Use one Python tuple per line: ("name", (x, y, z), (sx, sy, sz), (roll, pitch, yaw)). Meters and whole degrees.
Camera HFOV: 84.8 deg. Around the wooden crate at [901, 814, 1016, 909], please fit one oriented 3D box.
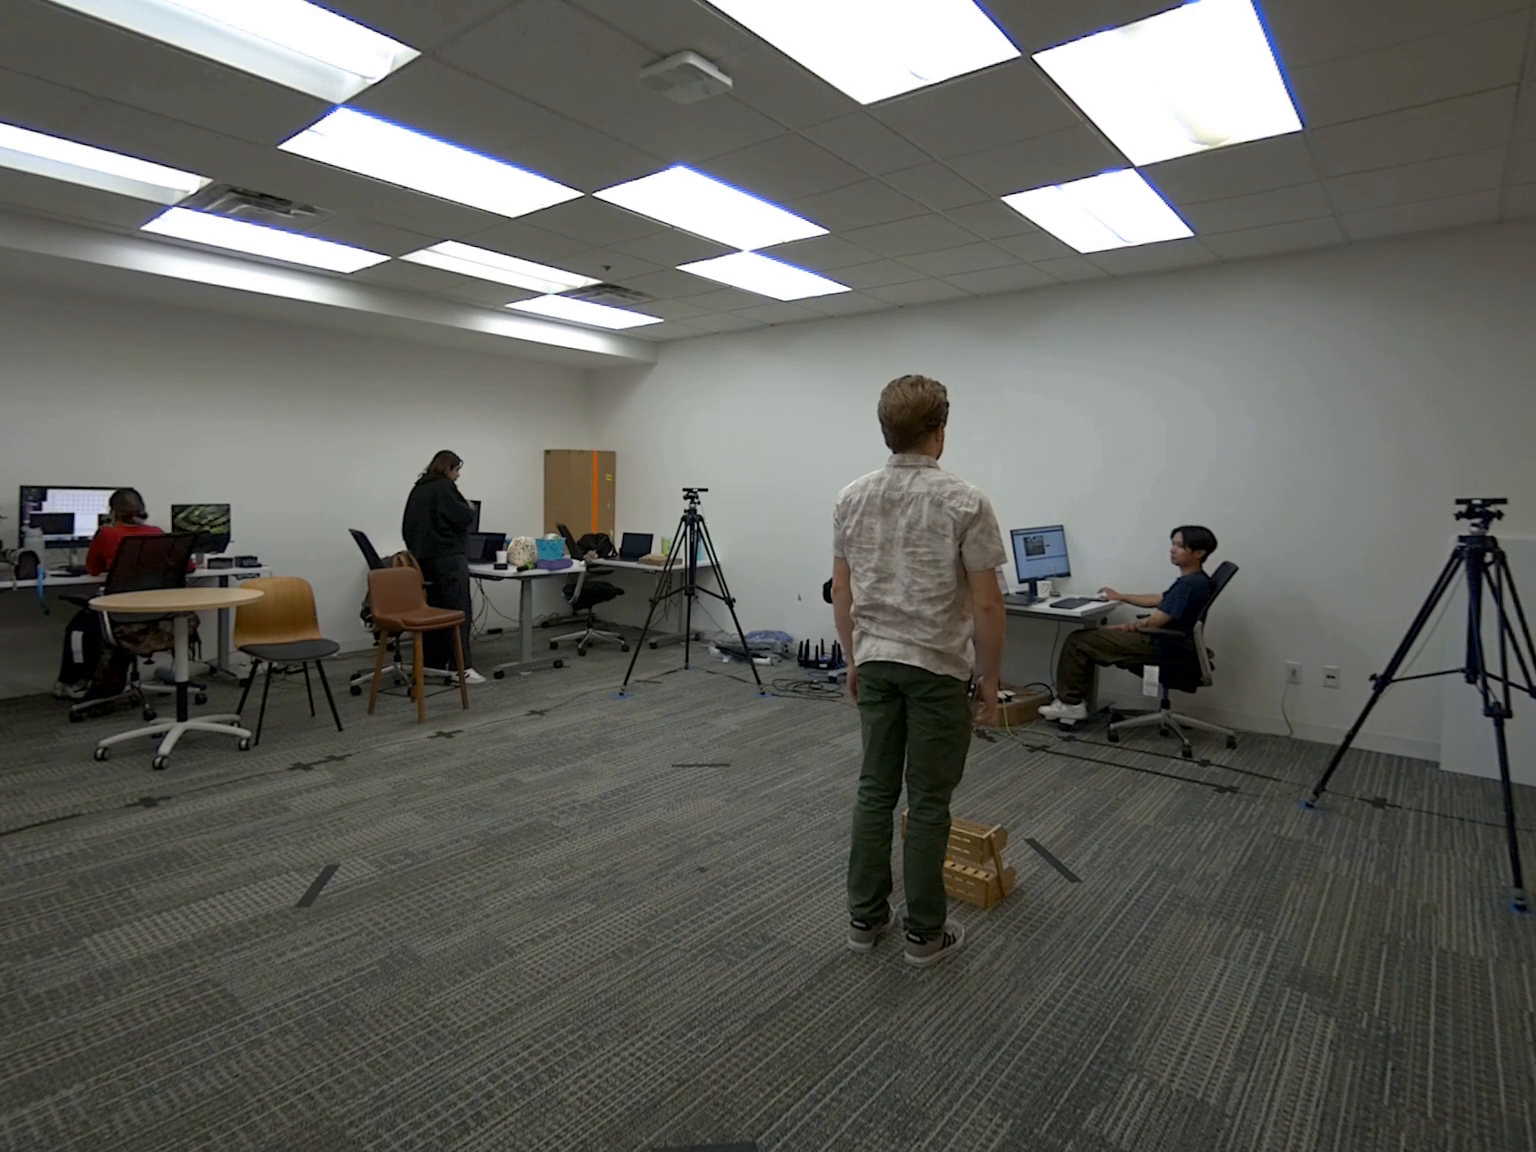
("wooden crate", (0.678, 0.966, 3.028), (0.335, 0.272, 0.293), (5, 7, 38))
